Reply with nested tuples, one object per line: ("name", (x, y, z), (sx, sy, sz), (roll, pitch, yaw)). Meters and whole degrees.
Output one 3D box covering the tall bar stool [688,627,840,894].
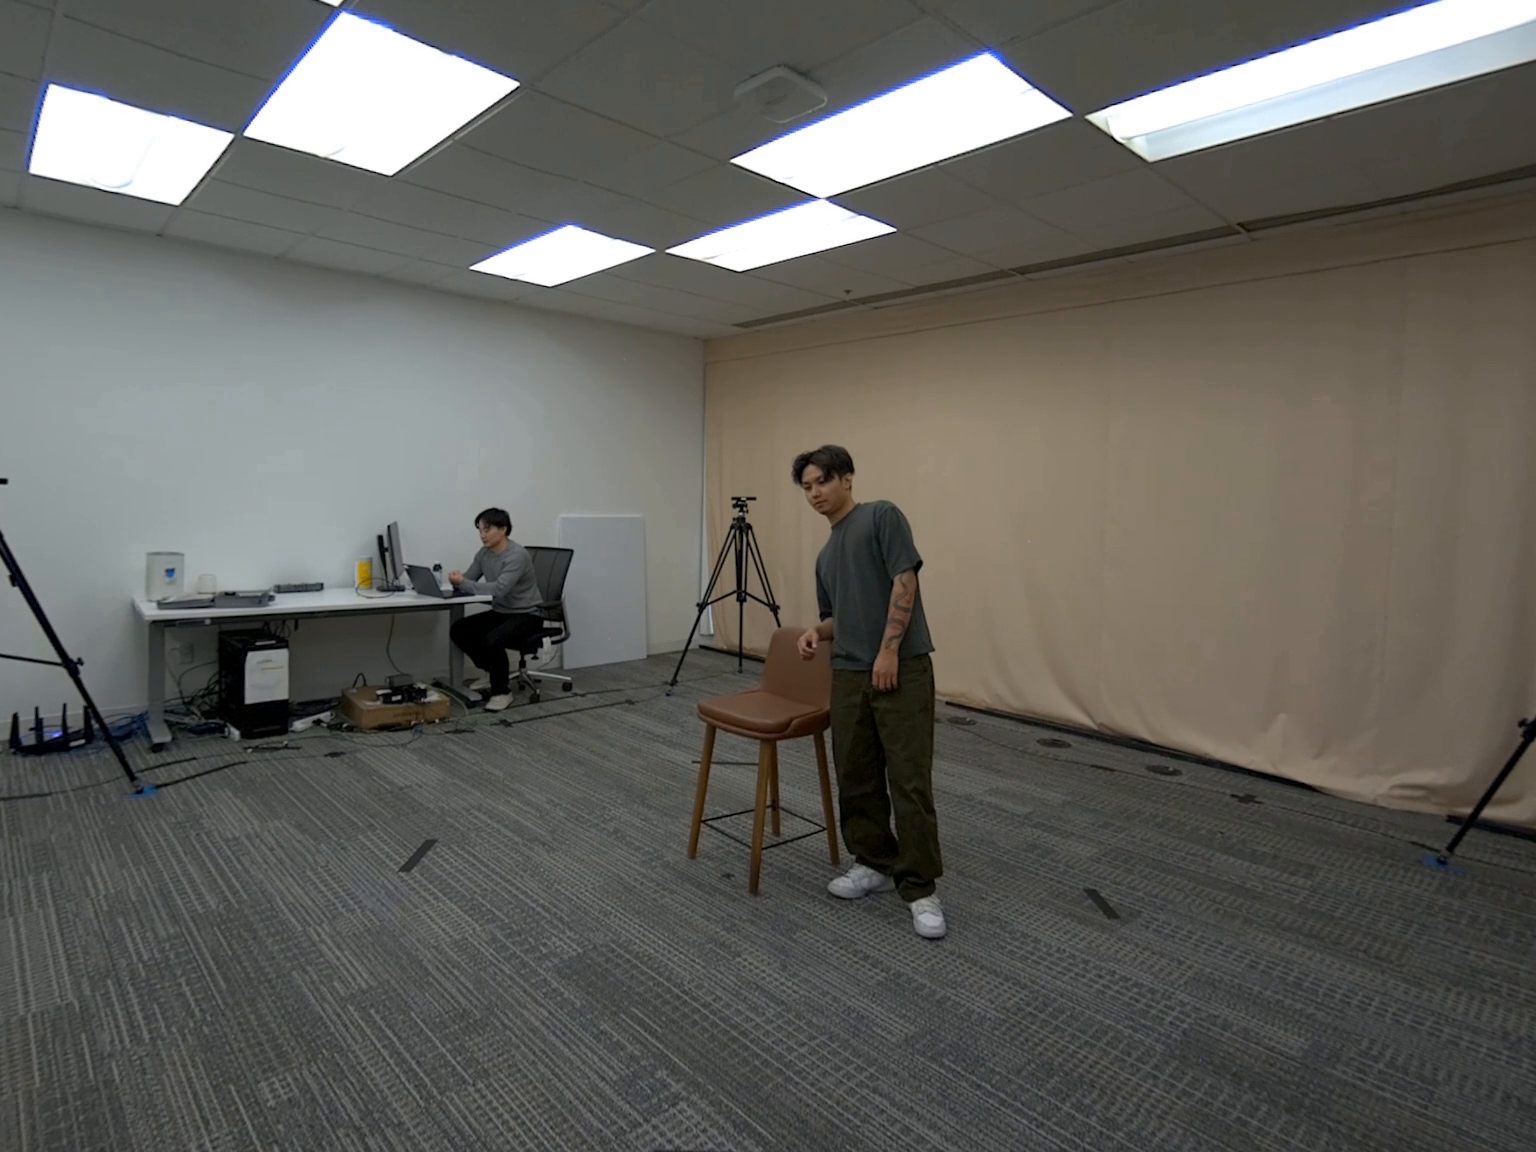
("tall bar stool", (-0.005, 0.662, 3.227), (0.456, 0.889, 0.468), (2, 2, -39))
